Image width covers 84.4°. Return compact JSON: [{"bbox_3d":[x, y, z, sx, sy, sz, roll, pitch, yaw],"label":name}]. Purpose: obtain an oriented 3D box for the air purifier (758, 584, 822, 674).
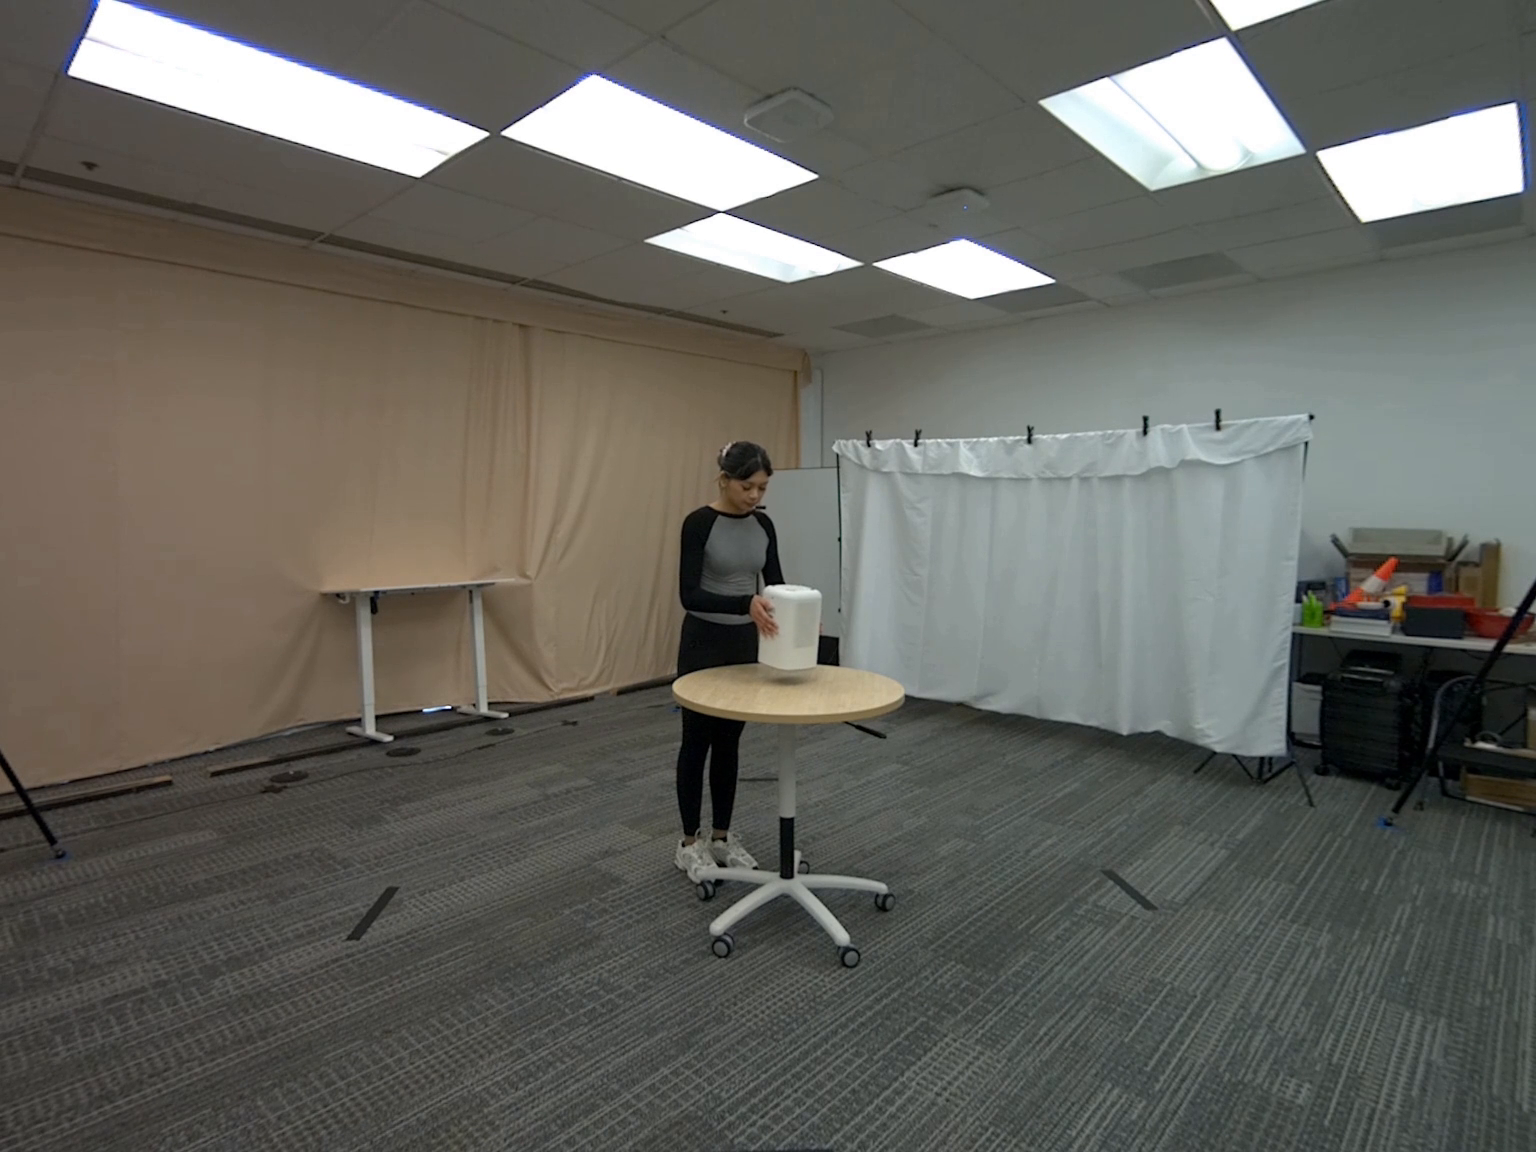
[{"bbox_3d":[0.080,0.172,2.850,0.166,0.264,0.177,0,7,-42],"label":"air purifier"}]
